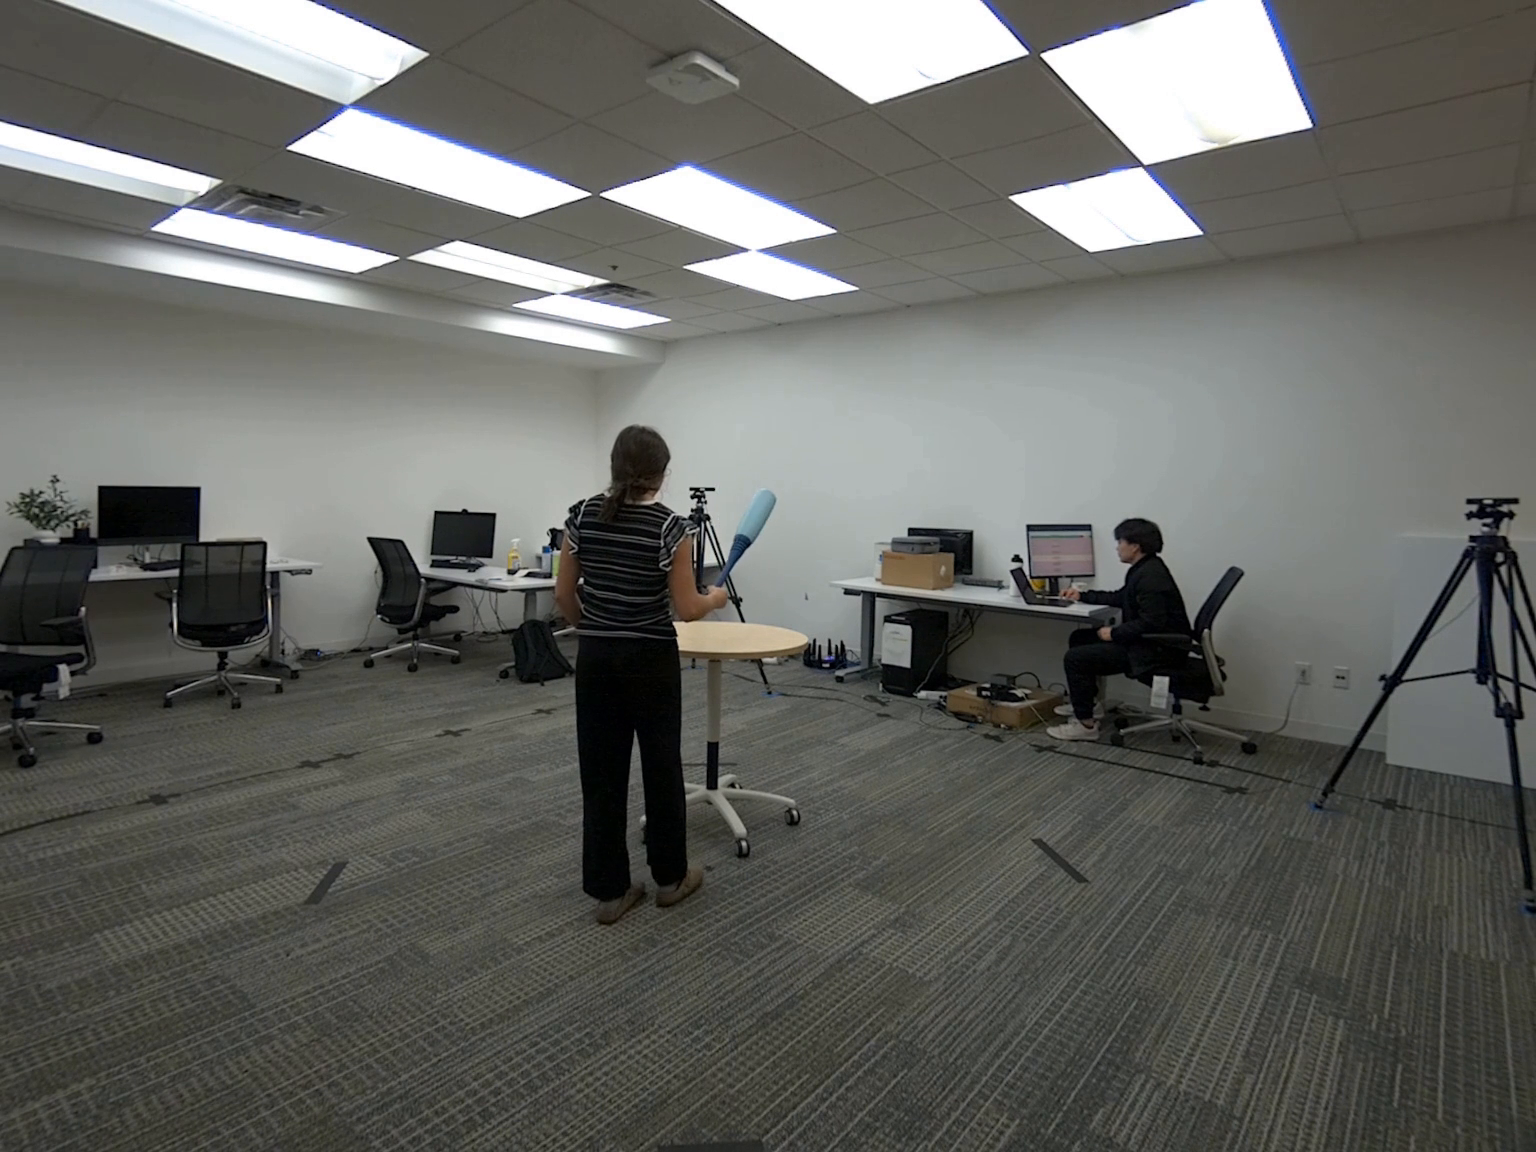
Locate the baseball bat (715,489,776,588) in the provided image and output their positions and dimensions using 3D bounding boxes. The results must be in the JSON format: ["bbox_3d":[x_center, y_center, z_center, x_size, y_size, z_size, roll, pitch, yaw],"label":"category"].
[{"bbox_3d":[-0.114,-0.119,3.119,0.092,0.085,0.548,2,47,30],"label":"baseball bat"}]
